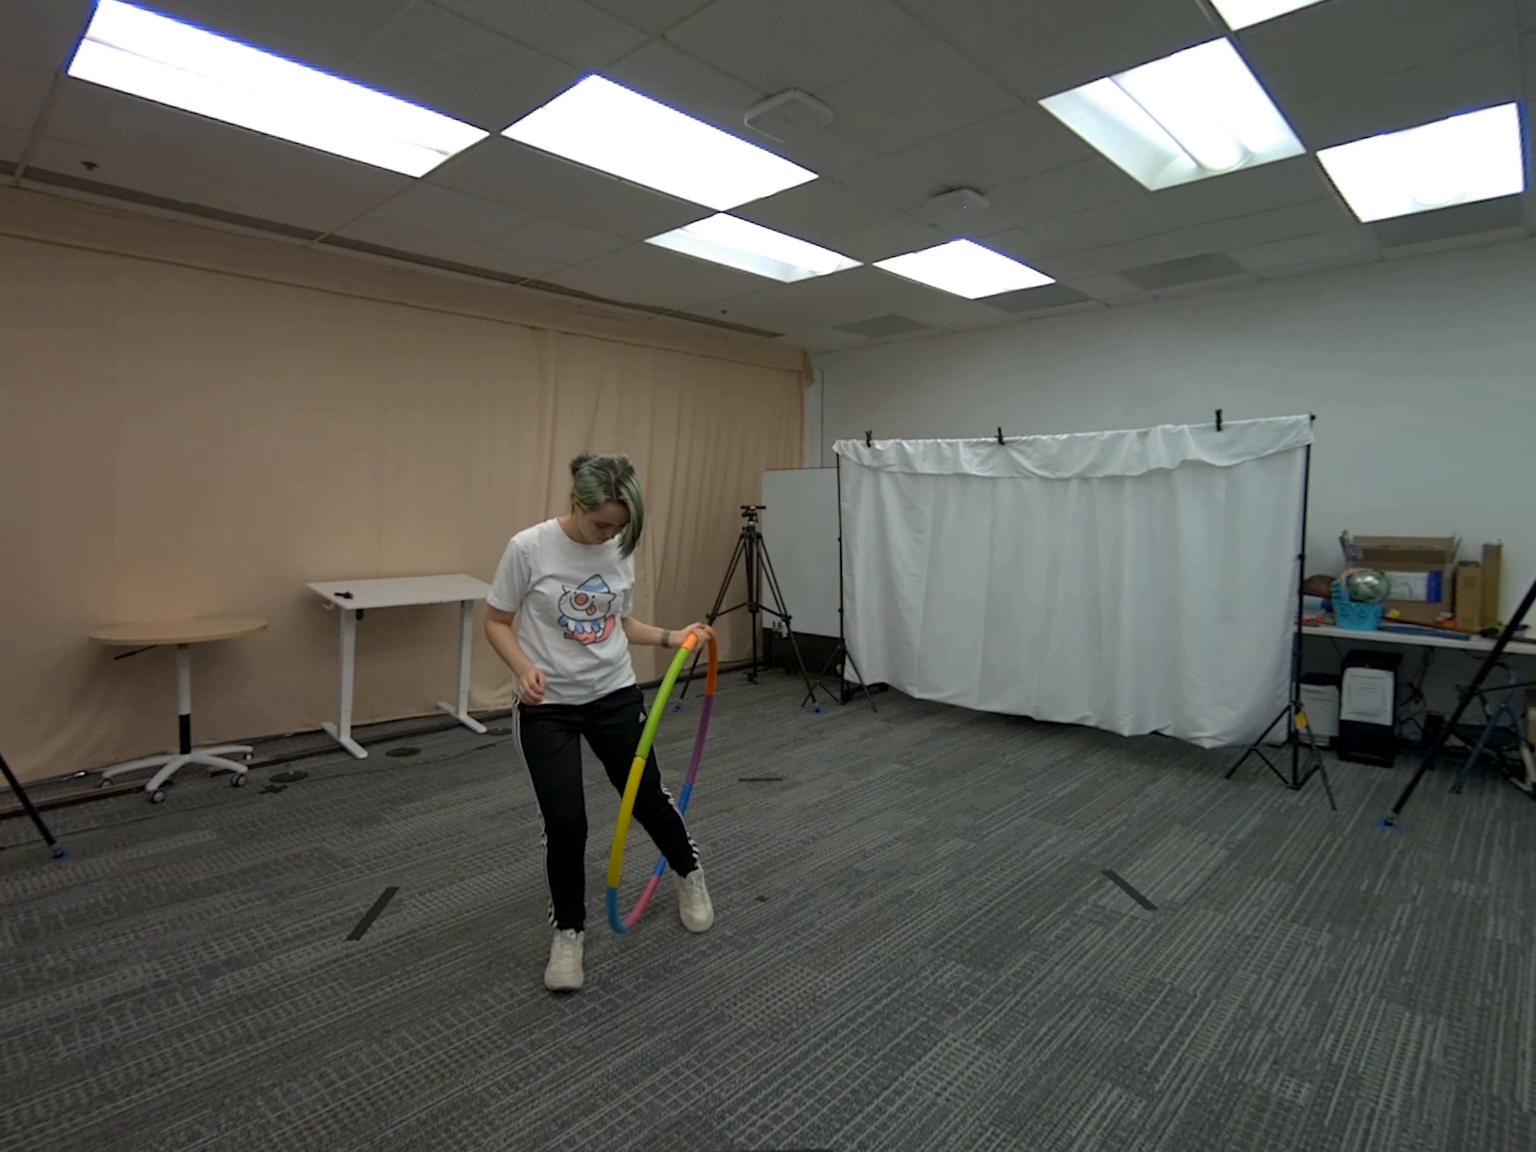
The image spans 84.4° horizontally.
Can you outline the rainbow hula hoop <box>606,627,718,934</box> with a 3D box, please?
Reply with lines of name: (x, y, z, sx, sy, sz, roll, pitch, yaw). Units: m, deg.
rainbow hula hoop: (-0.316, 0.645, 2.748, 0.036, 0.976, 0.969, 13, 6, 7)
